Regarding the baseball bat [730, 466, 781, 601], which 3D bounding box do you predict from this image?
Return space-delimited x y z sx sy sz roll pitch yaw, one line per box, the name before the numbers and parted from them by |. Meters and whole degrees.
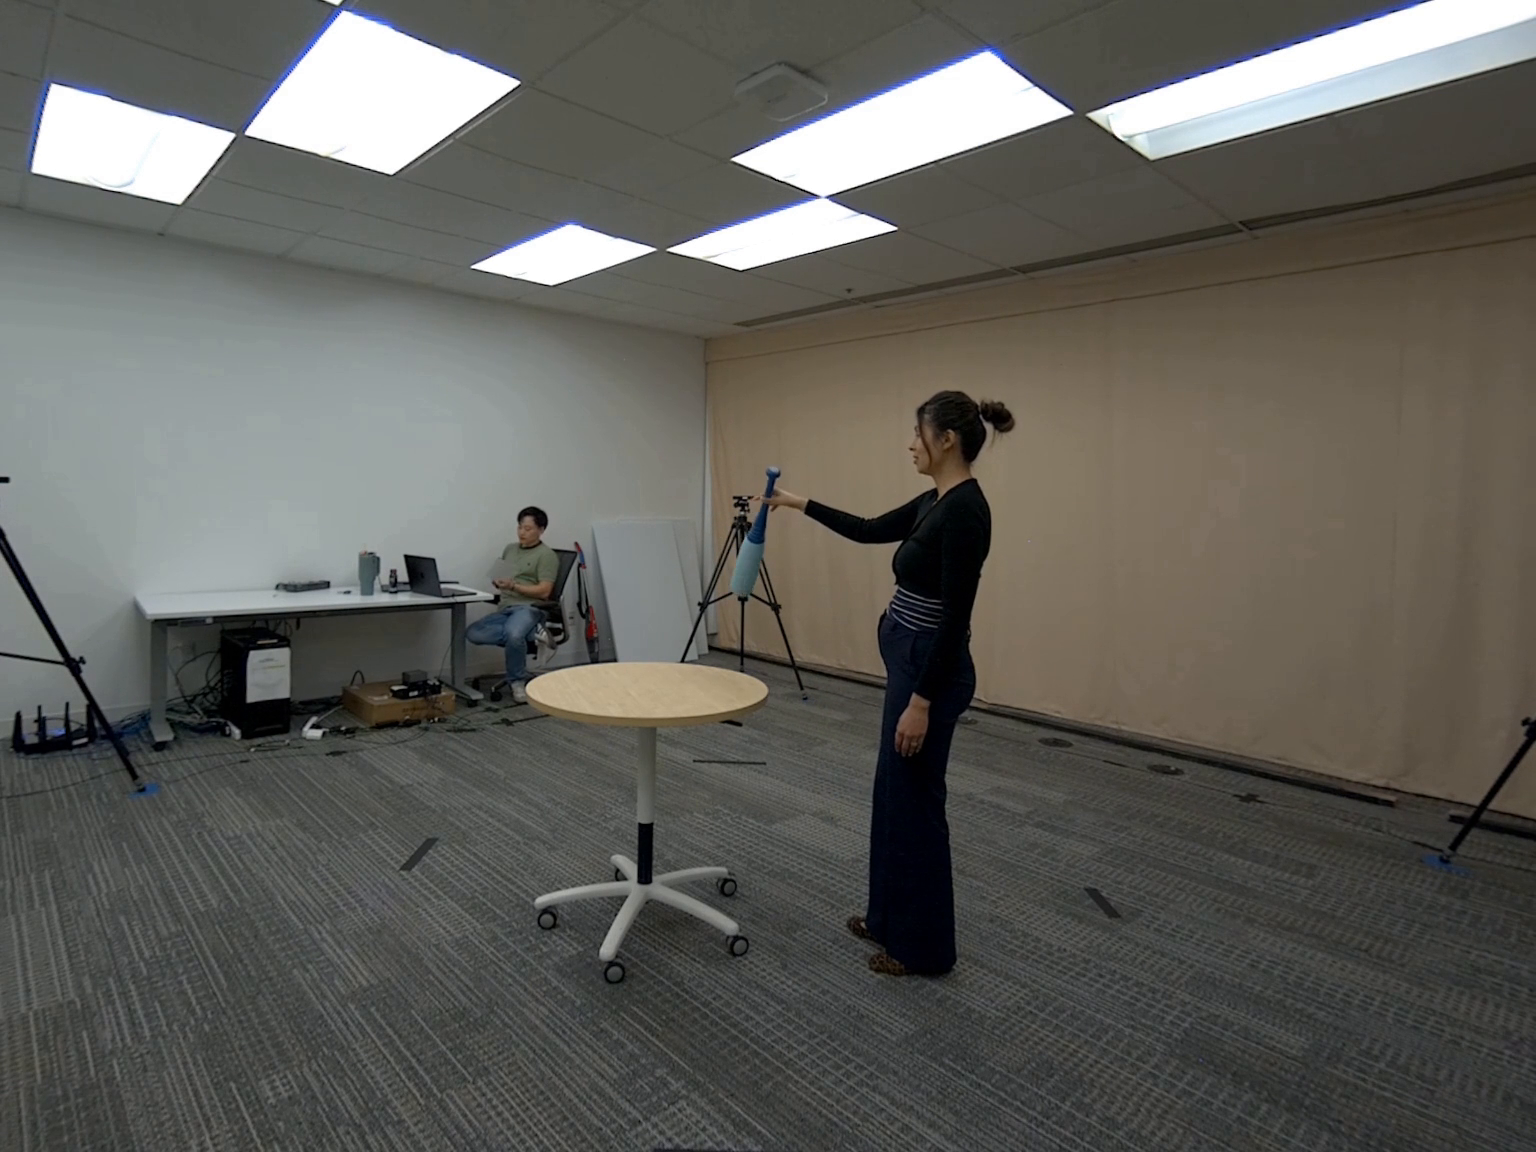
baseball bat | -0.036 -0.135 2.940 0.088 0.535 0.091 10 37 -9
